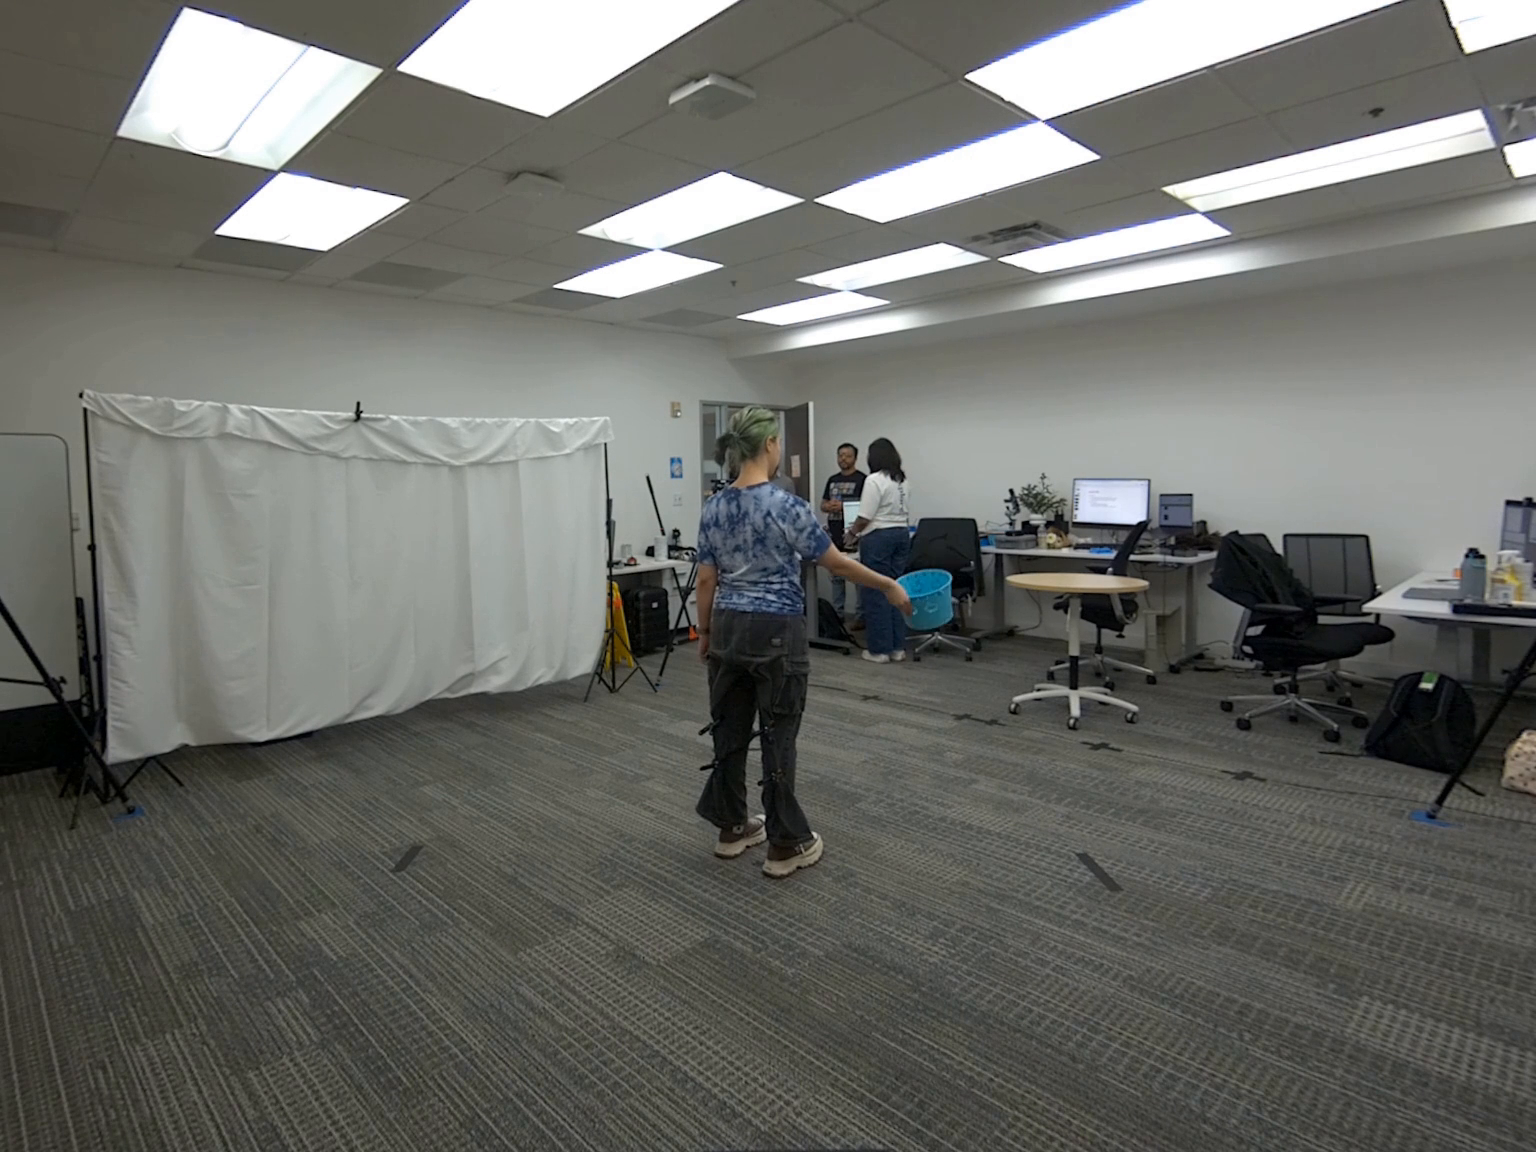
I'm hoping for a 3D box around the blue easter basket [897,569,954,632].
[{"bbox_3d":[0.606,0.089,3.273,0.244,0.152,0.248,-16,20,4],"label":"blue easter basket"}]
